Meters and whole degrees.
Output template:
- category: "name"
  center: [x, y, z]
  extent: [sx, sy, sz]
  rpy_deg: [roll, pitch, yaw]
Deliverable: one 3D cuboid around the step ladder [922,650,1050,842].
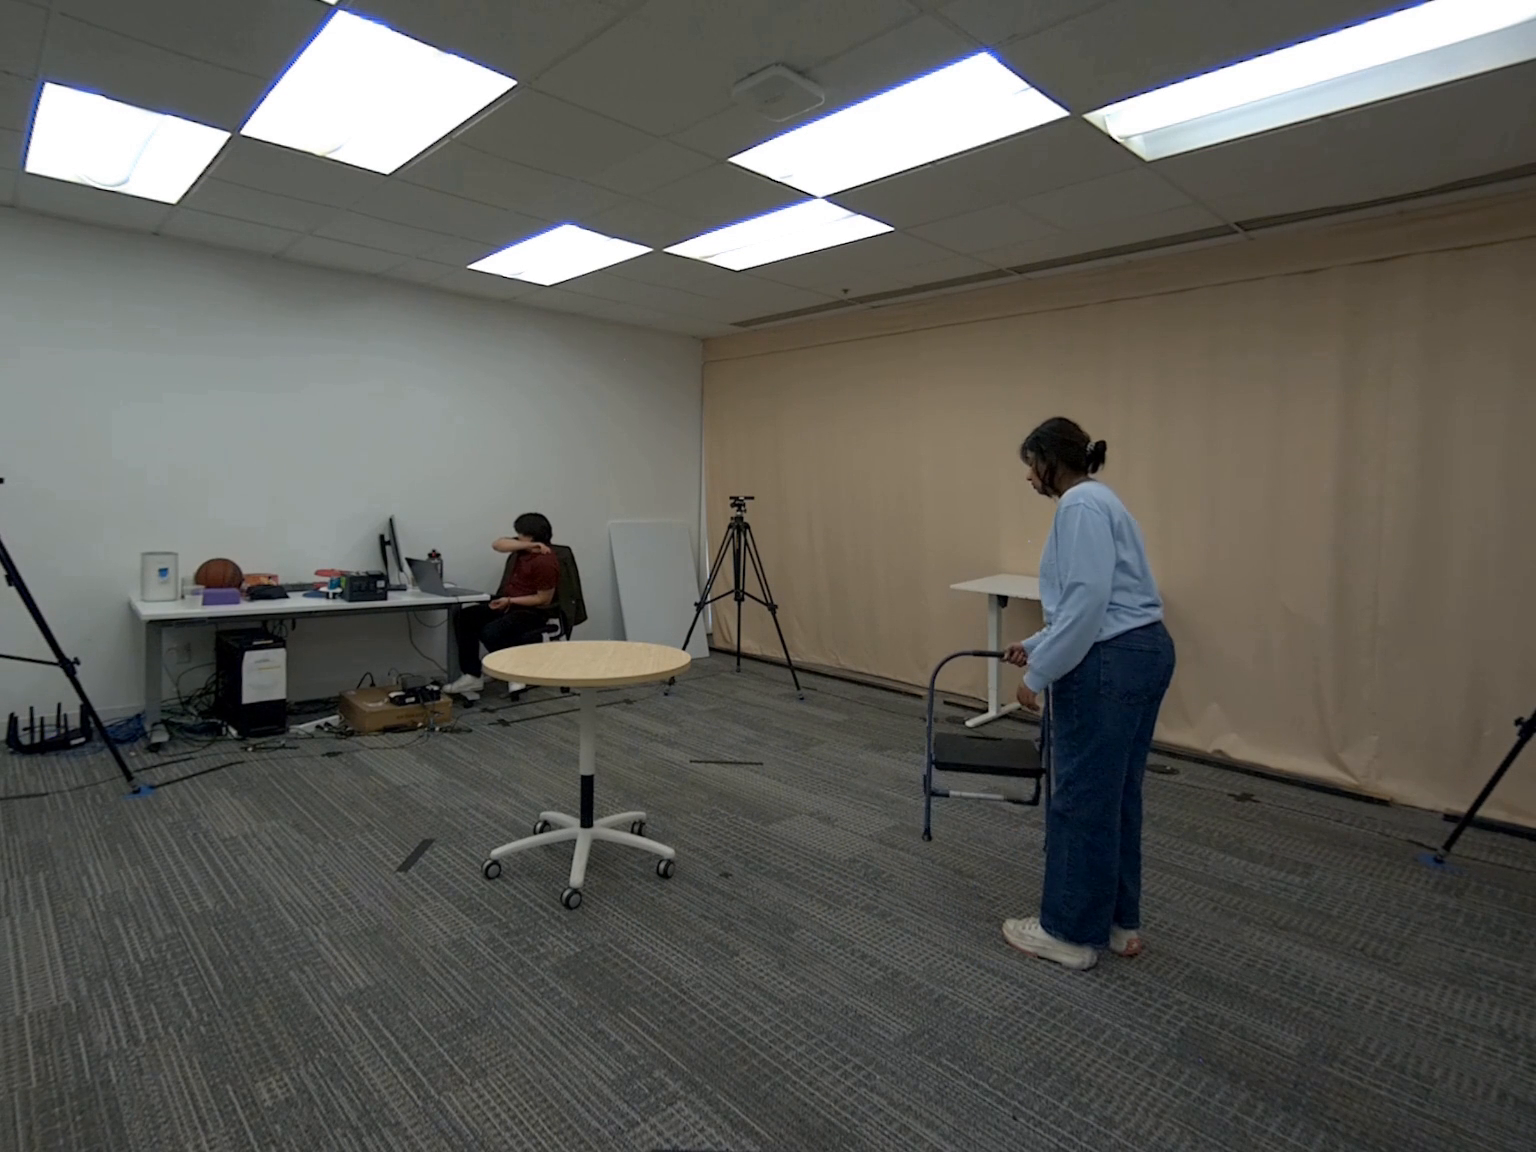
- category: "step ladder"
  center: [0.764, 0.579, 2.943]
  extent: [0.434, 0.601, 0.350]
  rpy_deg: [2, 12, 9]
